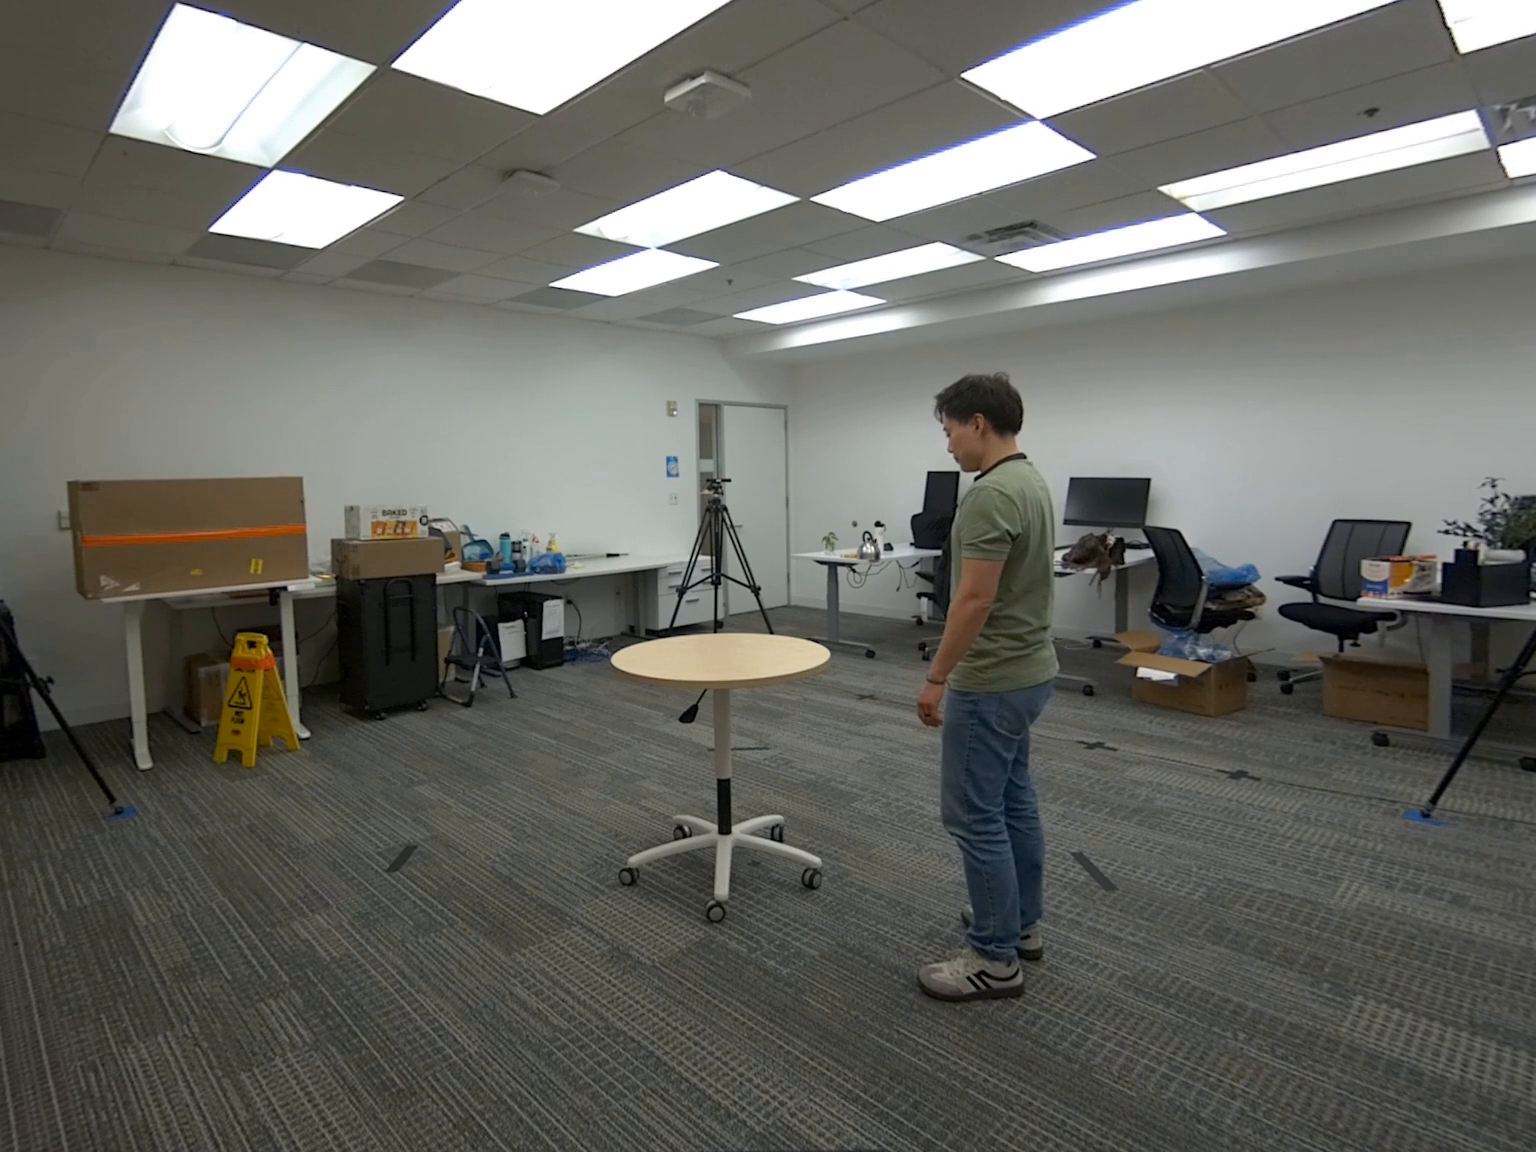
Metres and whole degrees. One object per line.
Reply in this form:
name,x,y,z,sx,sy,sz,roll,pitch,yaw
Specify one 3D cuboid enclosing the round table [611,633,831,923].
round table,-0.156,0.667,3.029,0.763,0.790,0.768,-1,5,-2
